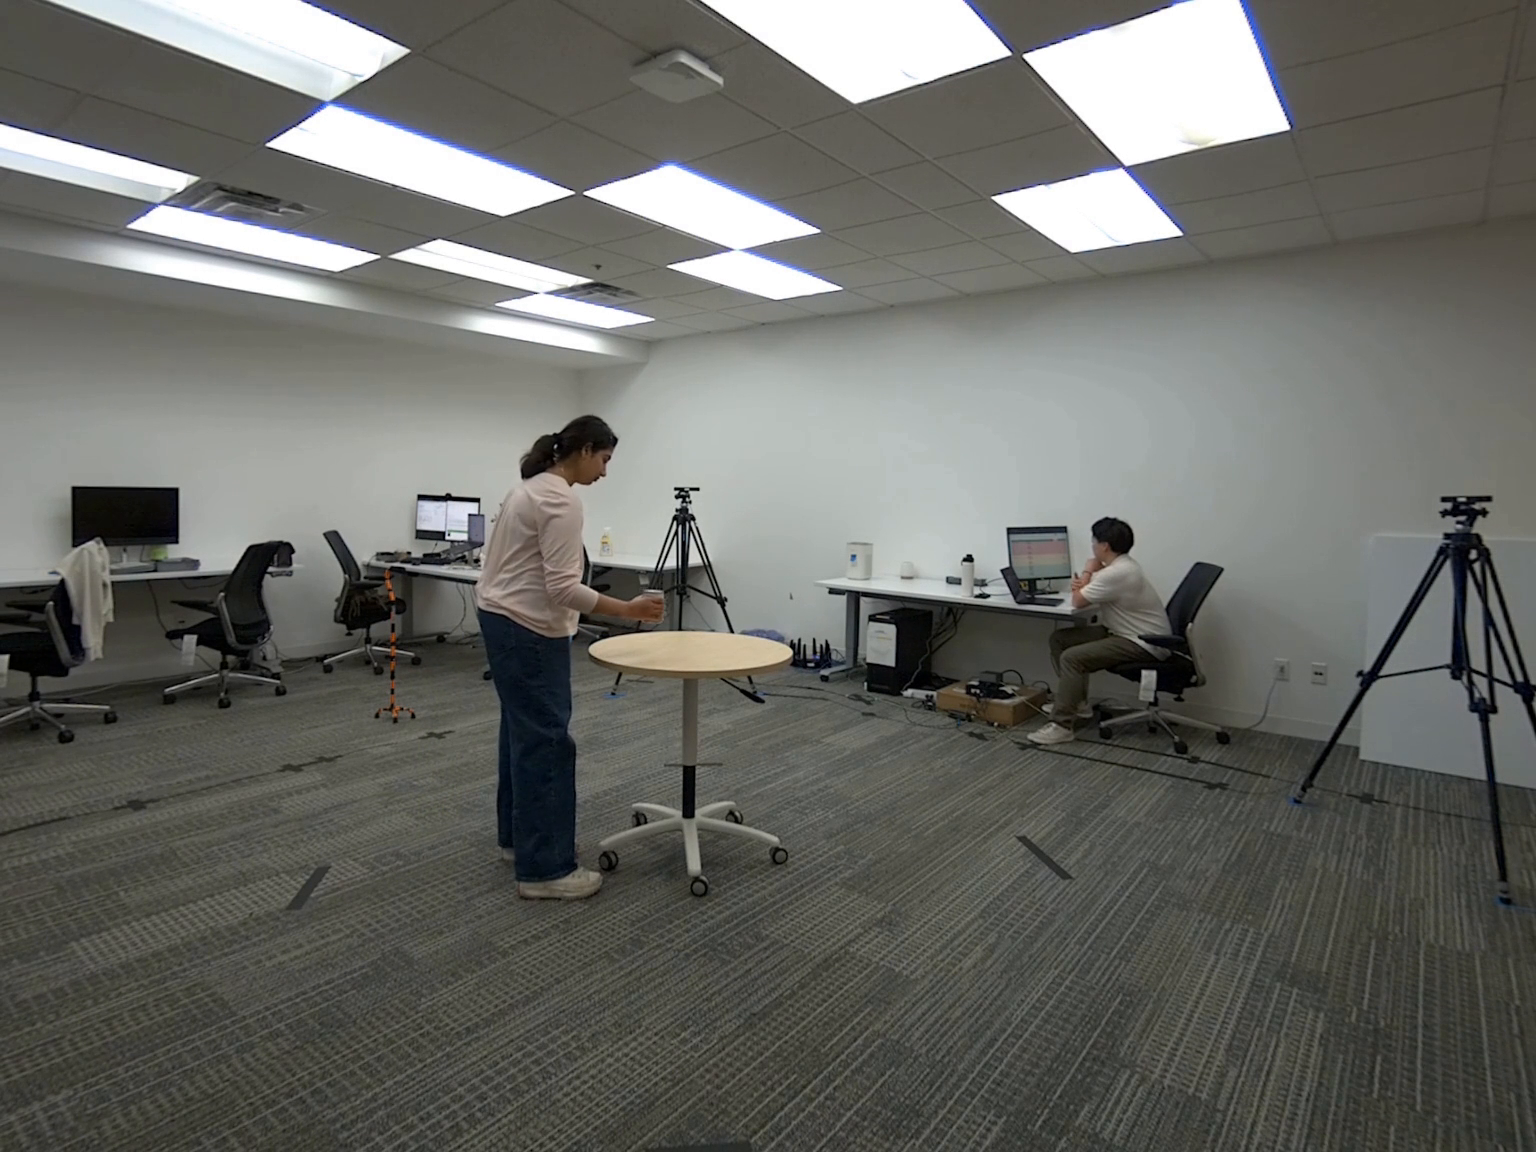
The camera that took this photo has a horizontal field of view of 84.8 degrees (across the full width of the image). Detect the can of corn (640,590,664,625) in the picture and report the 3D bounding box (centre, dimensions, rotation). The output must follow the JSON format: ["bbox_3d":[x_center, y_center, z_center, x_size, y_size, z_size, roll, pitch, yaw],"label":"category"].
[{"bbox_3d":[-0.422,0.111,3.049,0.074,0.111,0.074,1,2,-2],"label":"can of corn"}]
